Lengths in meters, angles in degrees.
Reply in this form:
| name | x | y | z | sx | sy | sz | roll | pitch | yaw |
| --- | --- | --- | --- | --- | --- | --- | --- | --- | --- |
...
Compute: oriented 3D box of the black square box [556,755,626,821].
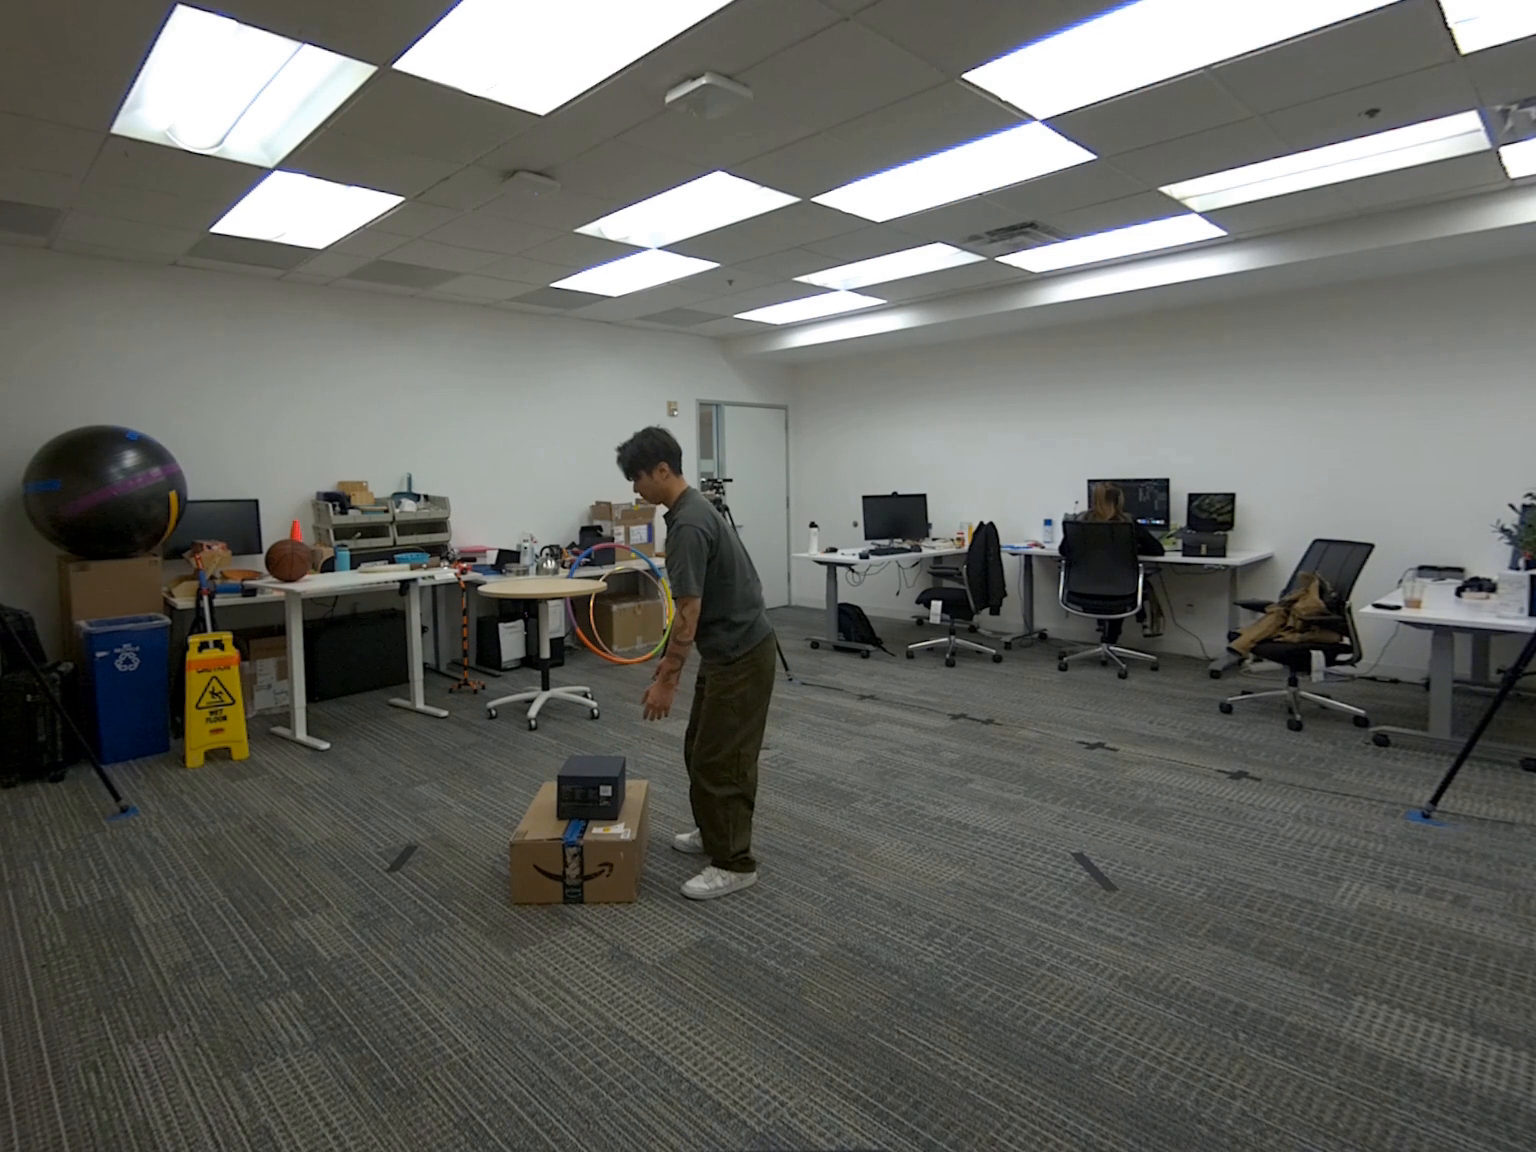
| name | x | y | z | sx | sy | sz | roll | pitch | yaw |
| --- | --- | --- | --- | --- | --- | --- | --- | --- | --- |
| black square box | -0.637 | 0.759 | 3.084 | 0.217 | 0.155 | 0.229 | 0 | 6 | -1 |
